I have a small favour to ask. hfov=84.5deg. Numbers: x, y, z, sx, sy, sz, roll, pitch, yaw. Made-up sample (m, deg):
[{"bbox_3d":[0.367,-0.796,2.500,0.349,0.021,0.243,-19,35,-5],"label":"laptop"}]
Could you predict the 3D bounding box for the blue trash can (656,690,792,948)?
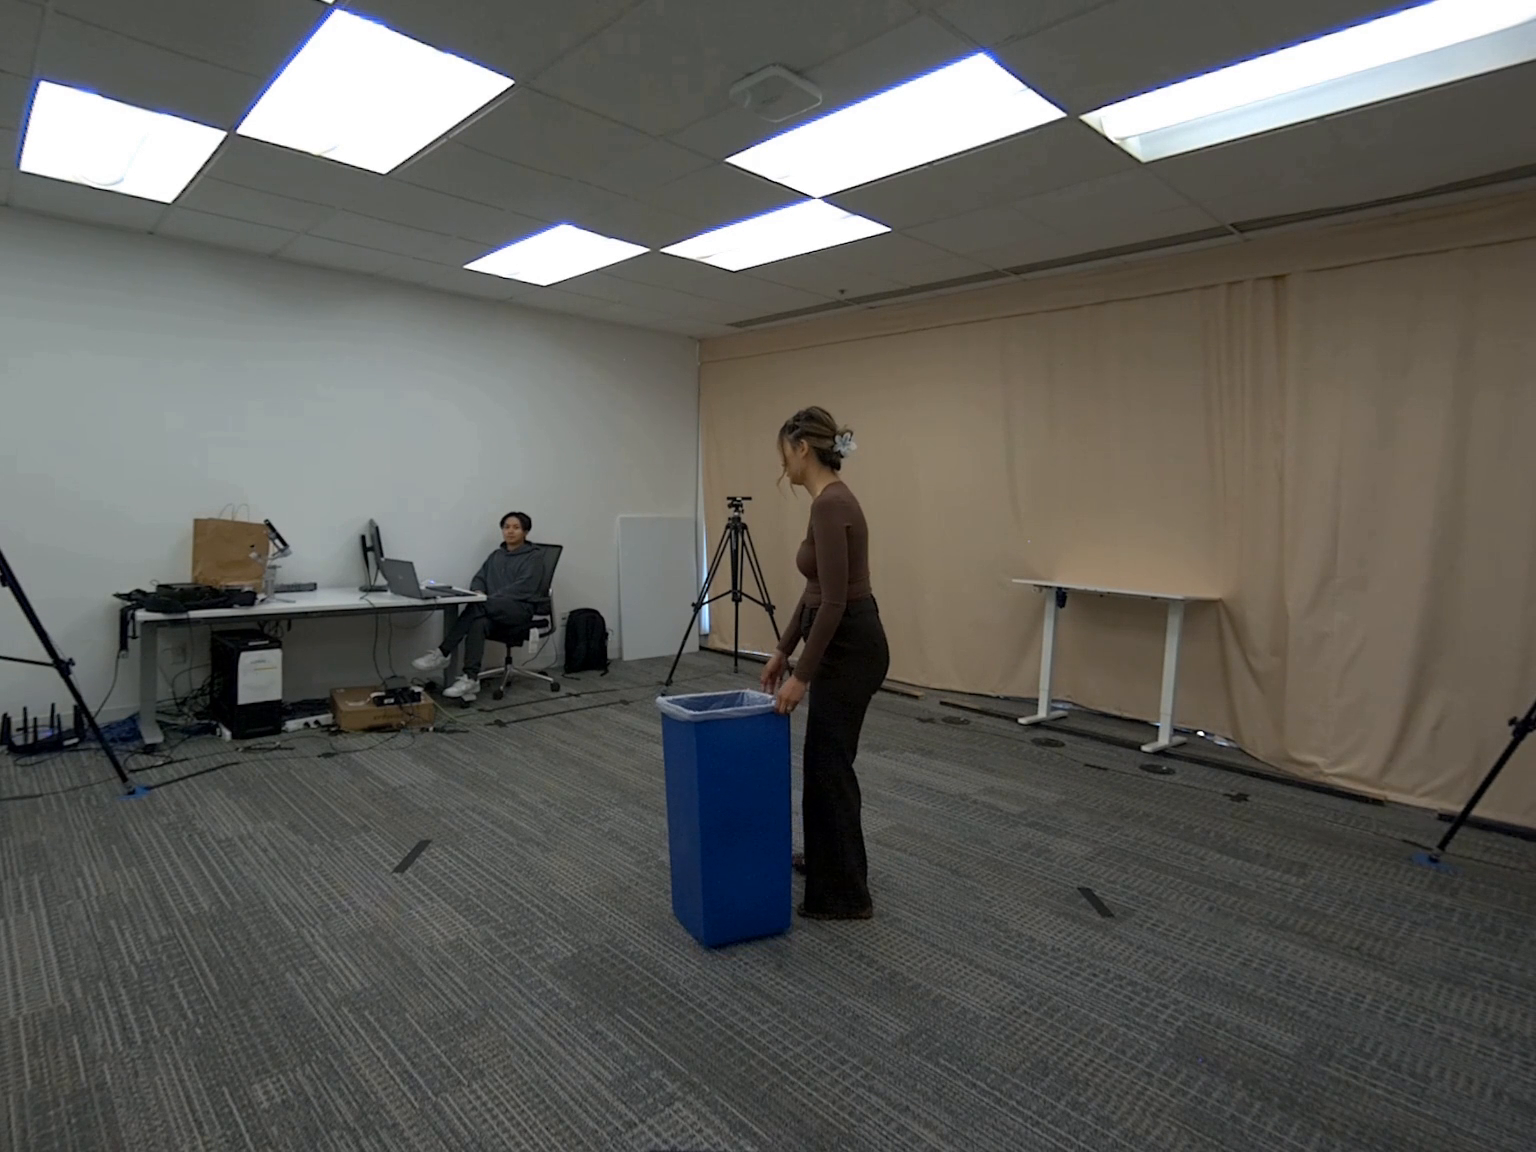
[{"bbox_3d":[-0.141,0.768,2.759,0.367,0.715,0.384,0,-2,-26],"label":"blue trash can"}]
